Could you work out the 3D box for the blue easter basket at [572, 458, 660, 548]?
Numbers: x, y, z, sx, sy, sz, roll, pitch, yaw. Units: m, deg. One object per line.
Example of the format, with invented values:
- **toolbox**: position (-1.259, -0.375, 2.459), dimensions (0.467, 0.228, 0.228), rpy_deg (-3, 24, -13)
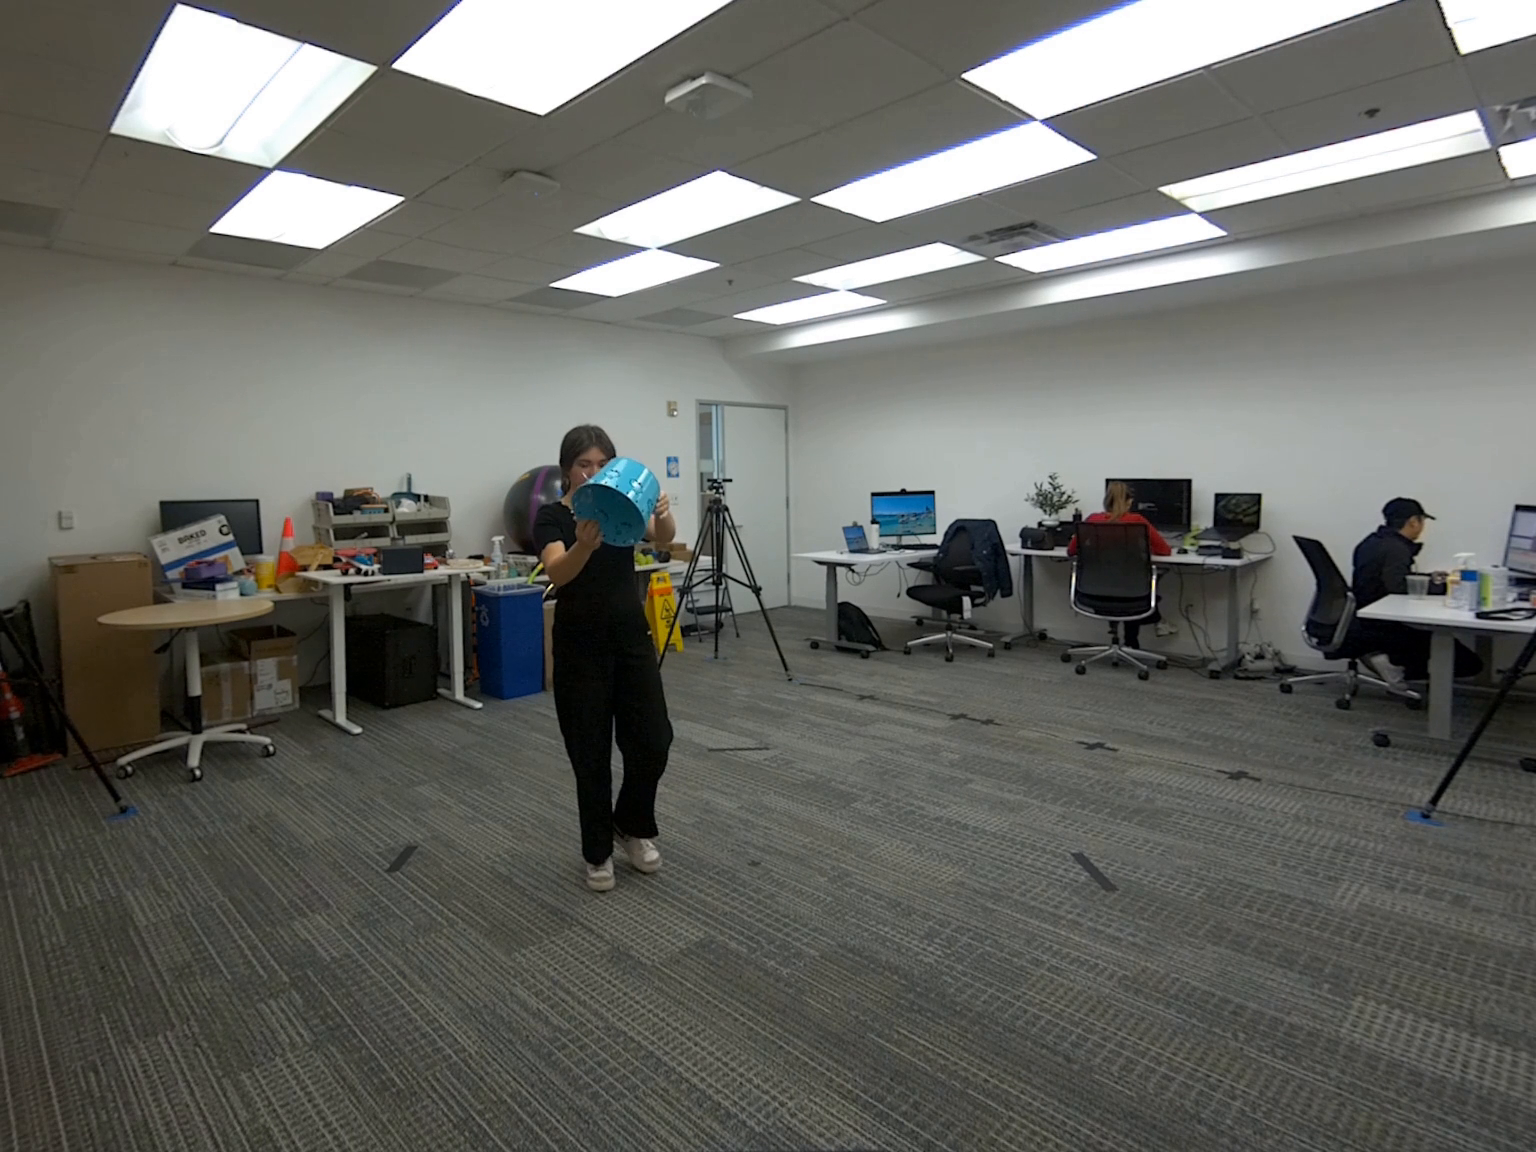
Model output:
- **blue easter basket**: position (-0.420, -0.227, 2.434), dimensions (0.249, 0.235, 0.157), rpy_deg (2, 43, 27)
